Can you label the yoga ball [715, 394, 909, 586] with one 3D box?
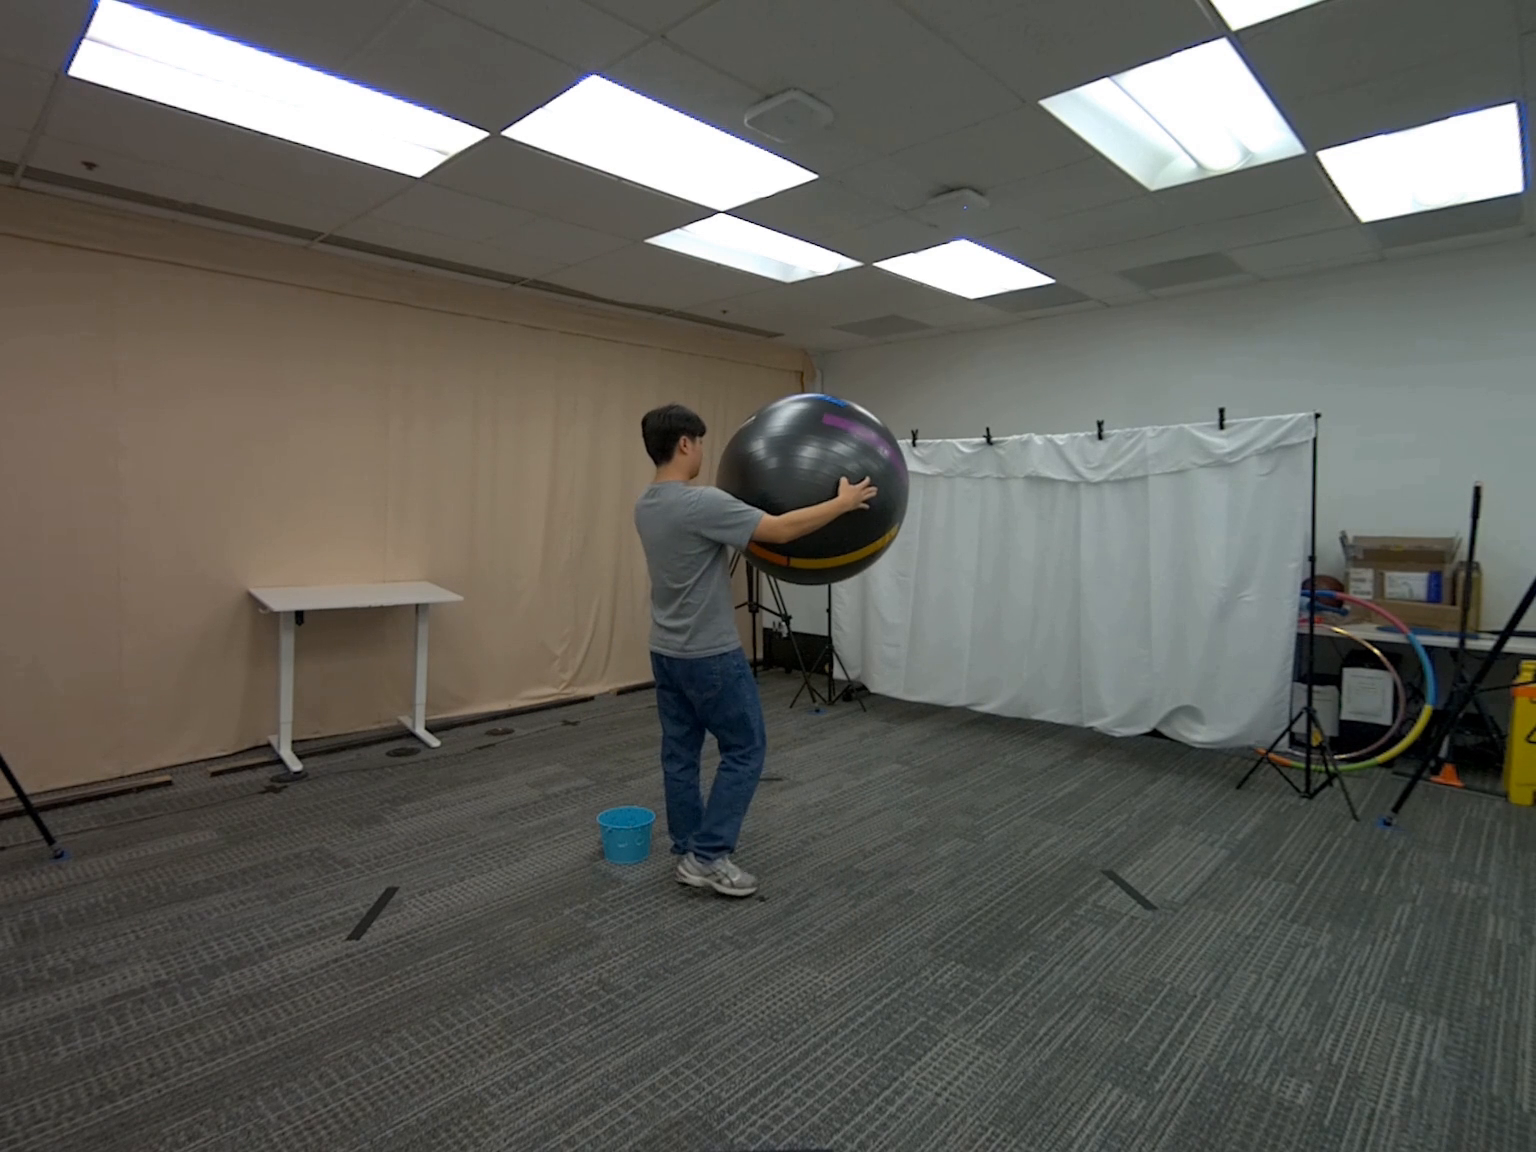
[{"bbox_3d":[0.174,-0.336,3.353,0.757,0.756,0.761,0,4,-2],"label":"yoga ball"}]
